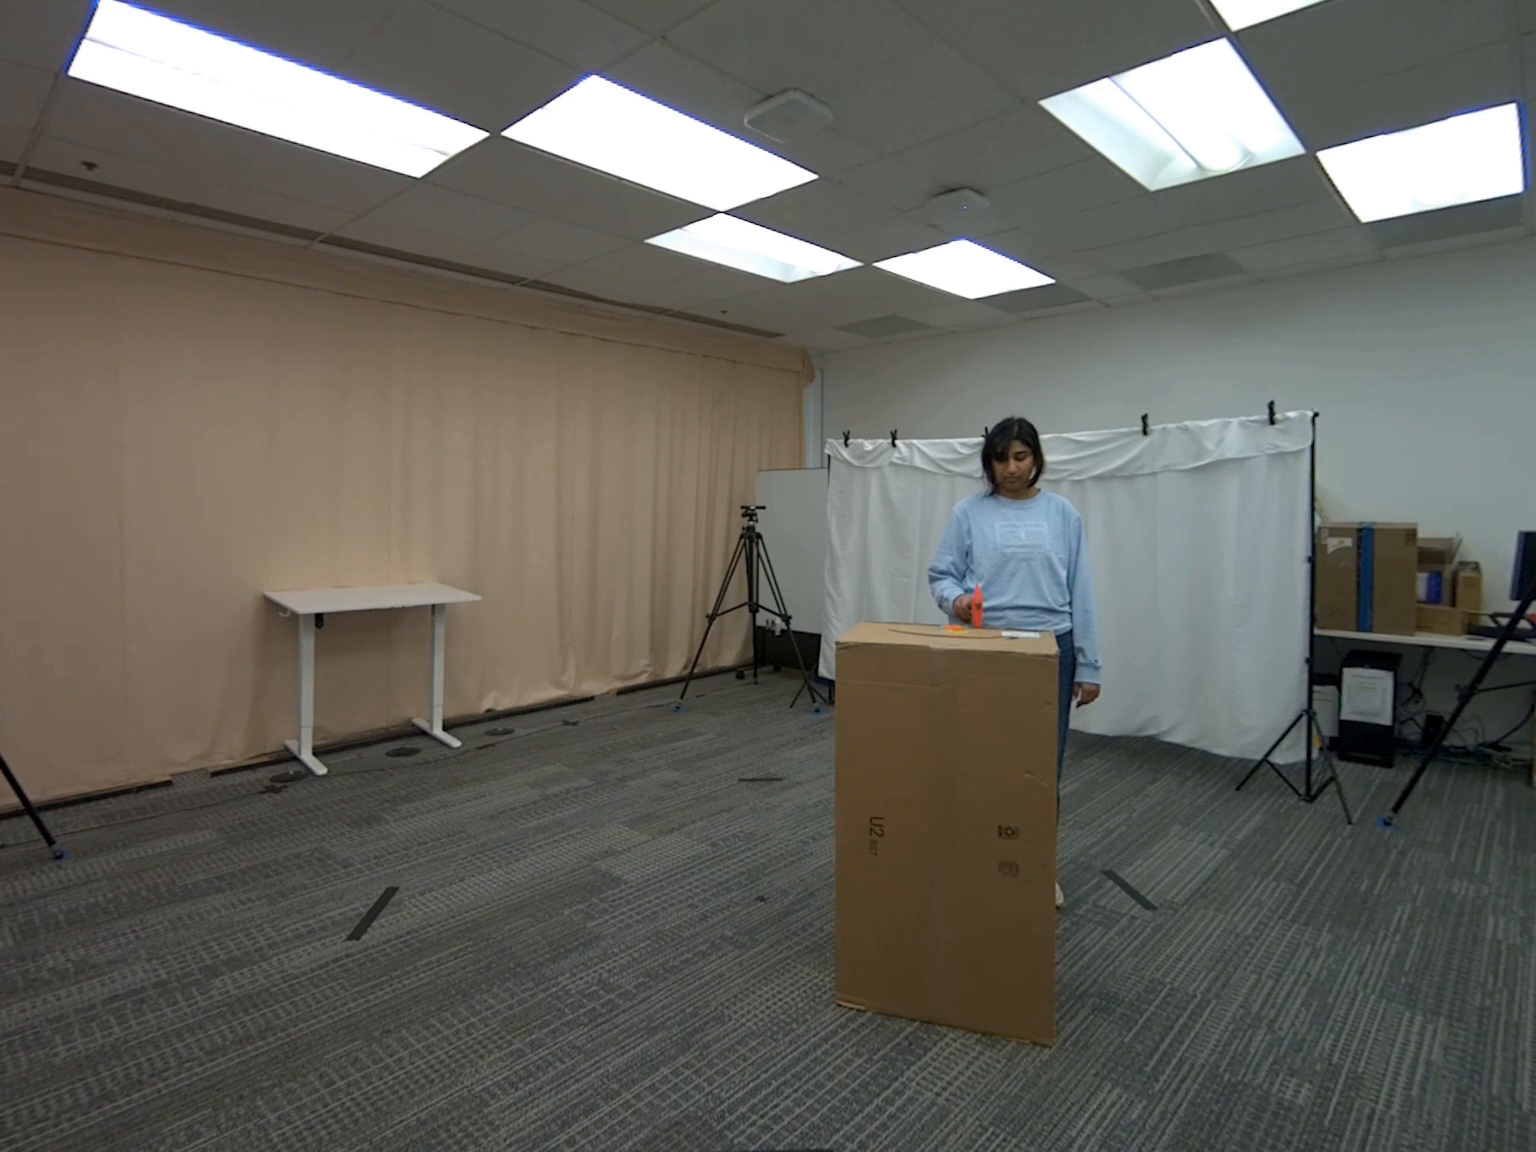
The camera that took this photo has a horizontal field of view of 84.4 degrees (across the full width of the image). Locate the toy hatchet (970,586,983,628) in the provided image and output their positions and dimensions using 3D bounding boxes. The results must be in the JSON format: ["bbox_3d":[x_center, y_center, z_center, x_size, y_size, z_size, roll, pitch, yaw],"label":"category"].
[{"bbox_3d":[0.654,0.121,2.661,0.029,0.132,0.267,-1,-18,-3],"label":"toy hatchet"}]
